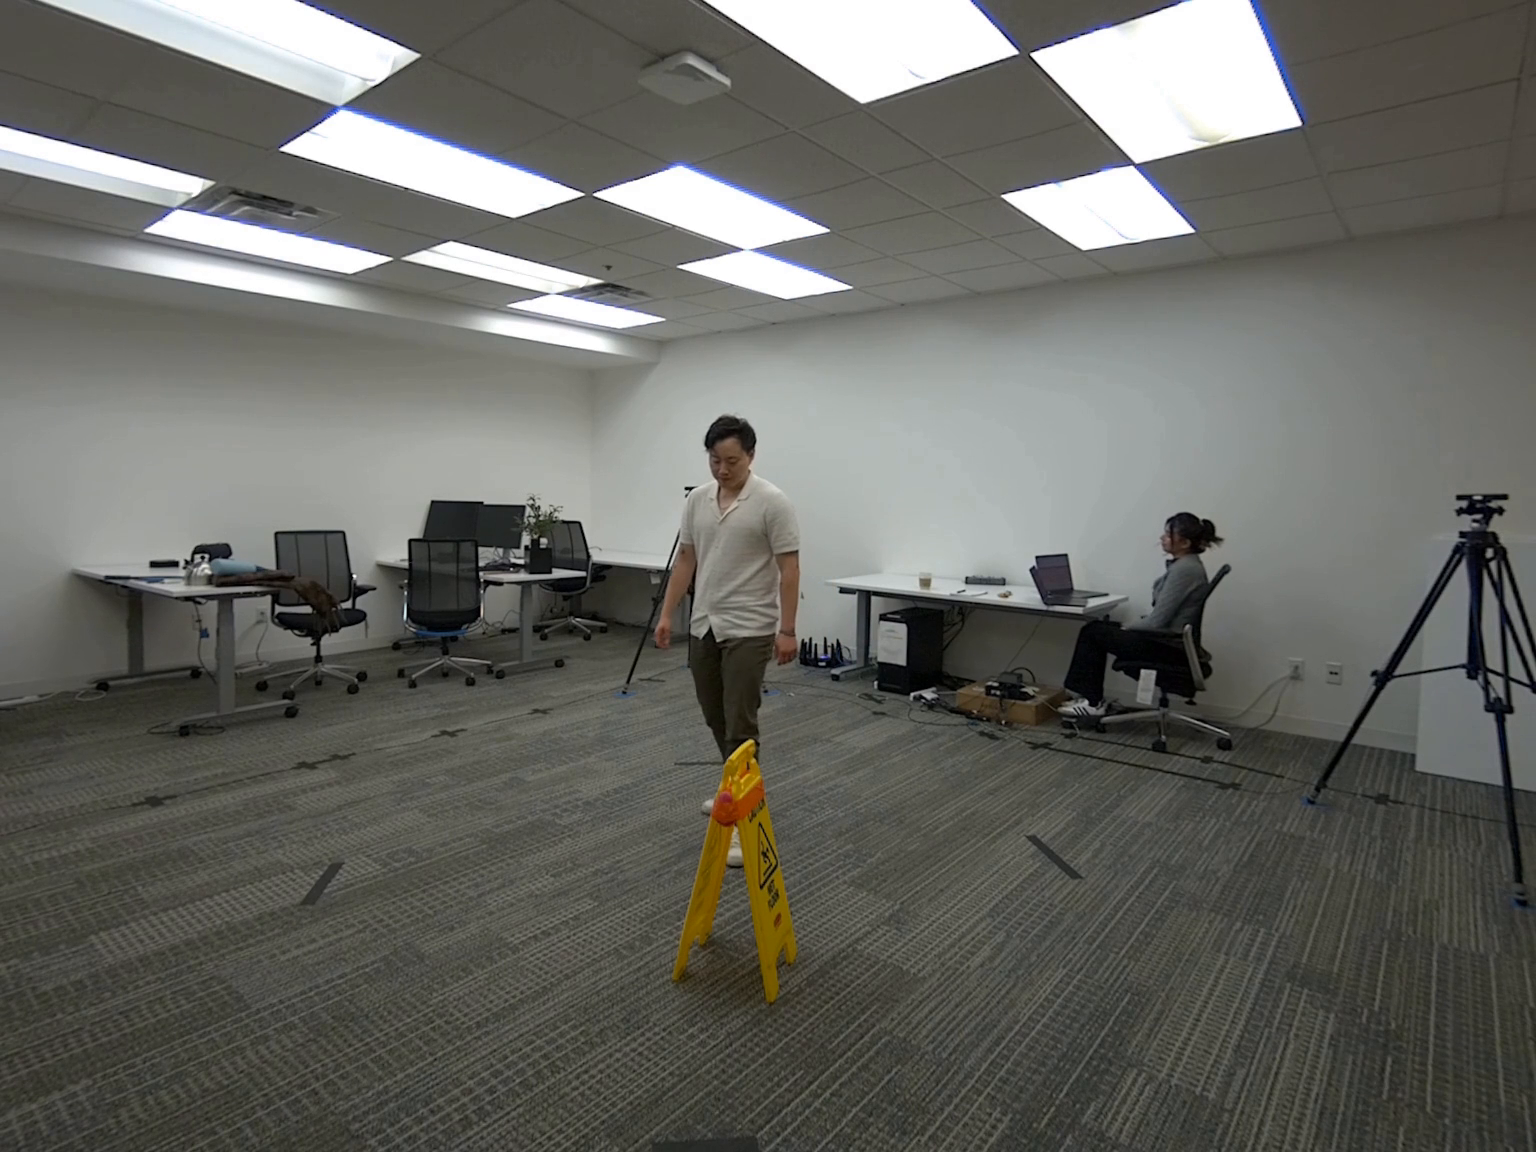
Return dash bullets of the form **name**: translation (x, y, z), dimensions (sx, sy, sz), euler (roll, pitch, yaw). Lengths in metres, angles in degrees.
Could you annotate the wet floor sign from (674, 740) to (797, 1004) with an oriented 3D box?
- **wet floor sign**: translation (-0.088, 0.810, 2.449), dimensions (0.296, 0.644, 0.278), euler (2, 4, 18)
